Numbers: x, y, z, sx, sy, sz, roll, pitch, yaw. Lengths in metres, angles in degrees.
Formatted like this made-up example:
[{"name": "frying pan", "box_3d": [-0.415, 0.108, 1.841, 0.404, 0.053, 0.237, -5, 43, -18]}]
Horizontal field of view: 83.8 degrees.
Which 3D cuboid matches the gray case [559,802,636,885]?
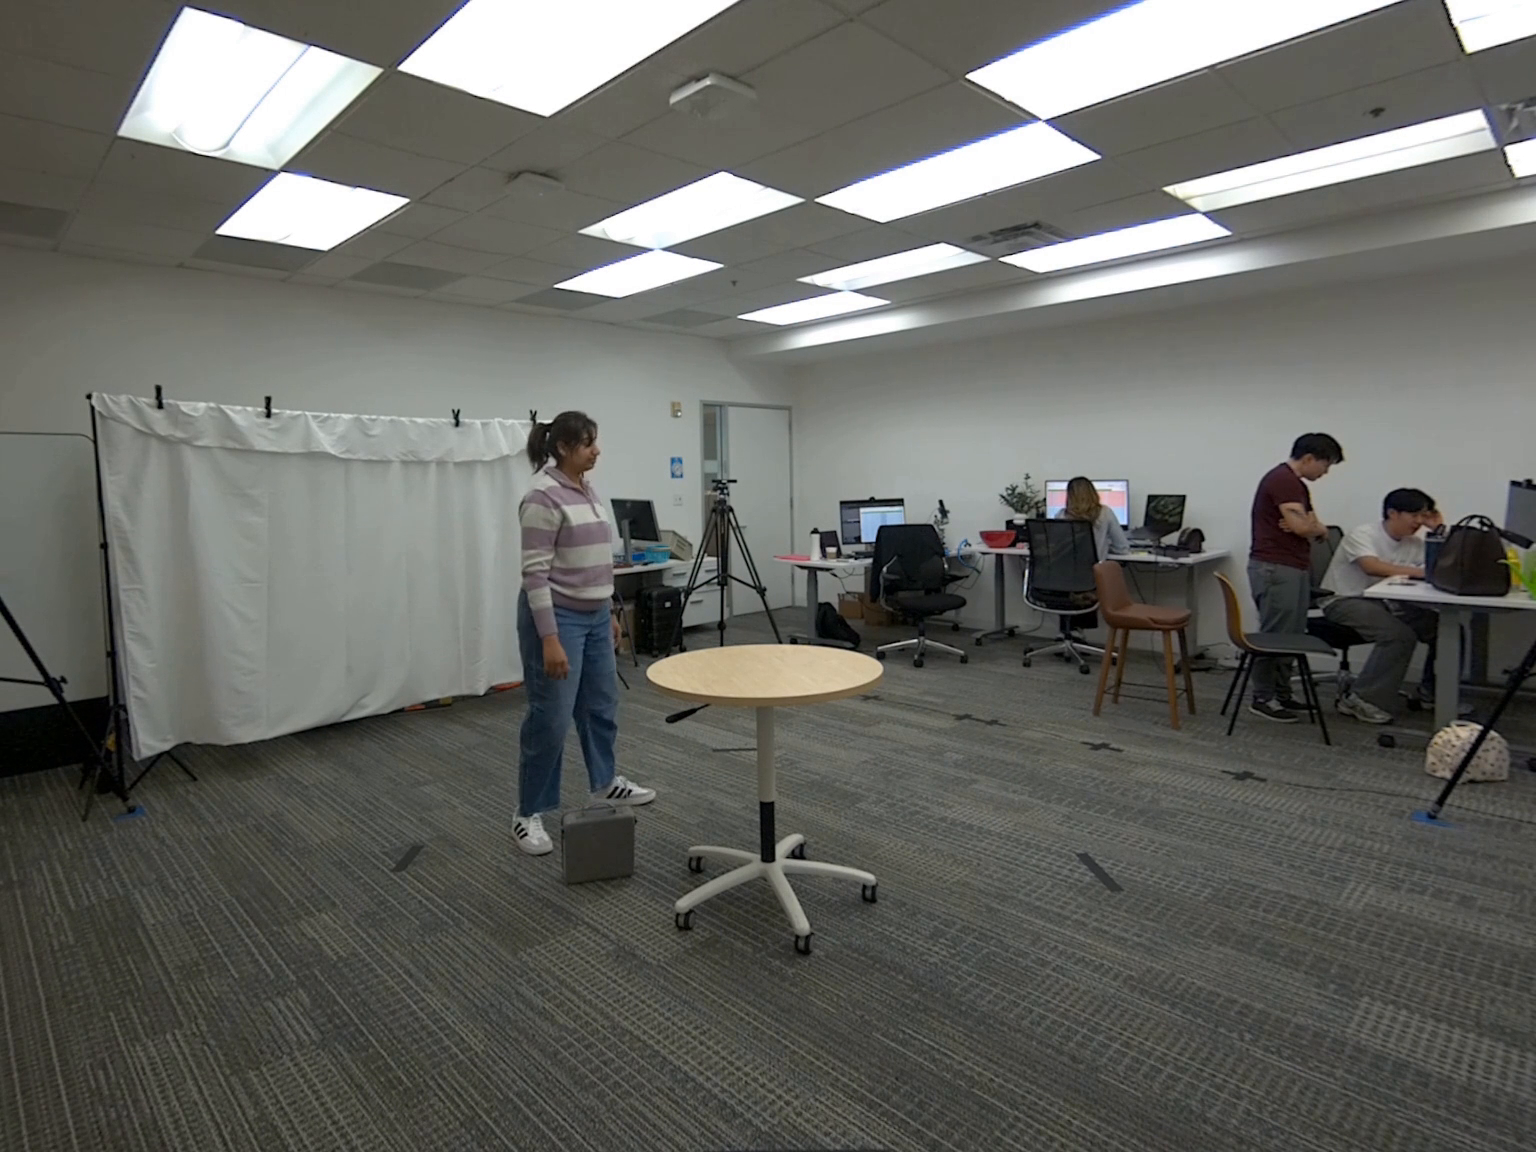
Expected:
[{"name": "gray case", "box_3d": [-0.592, 0.932, 3.014, 0.253, 0.258, 0.107, -2, 12, -16]}]
